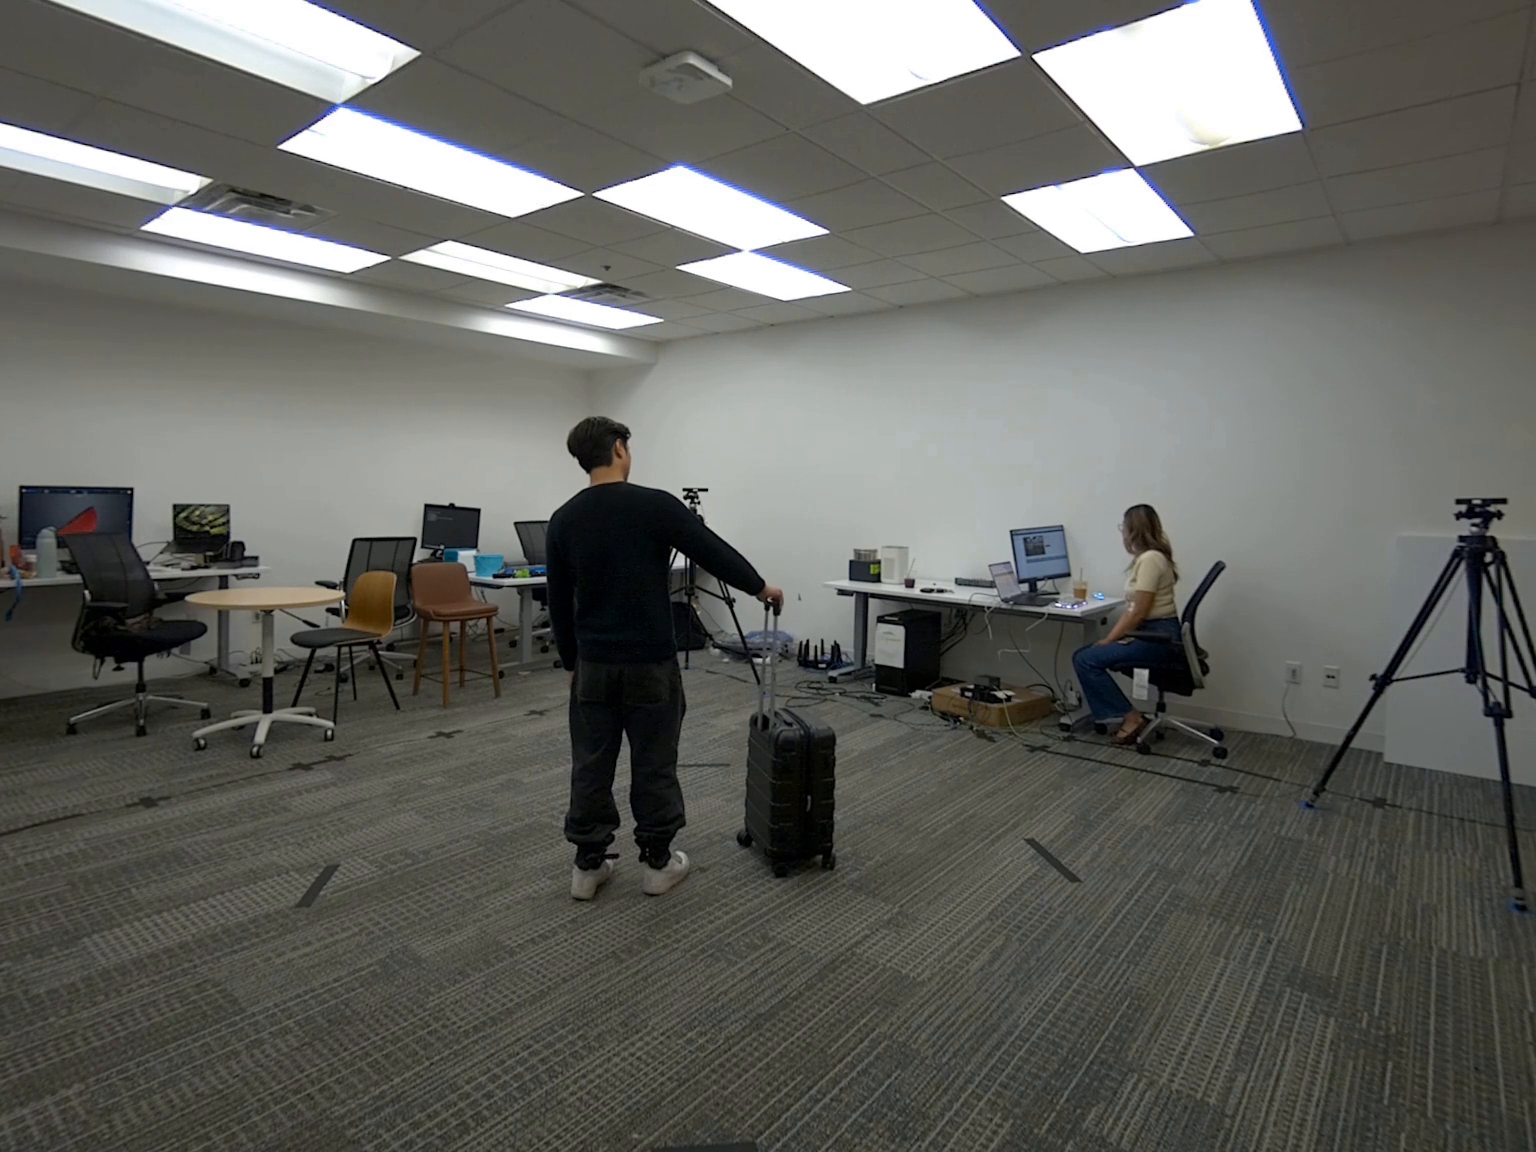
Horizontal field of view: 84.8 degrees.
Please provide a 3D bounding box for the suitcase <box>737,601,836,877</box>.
[{"bbox_3d":[0.083,0.586,3.216,0.252,0.976,0.392,4,3,-19],"label":"suitcase"}]
